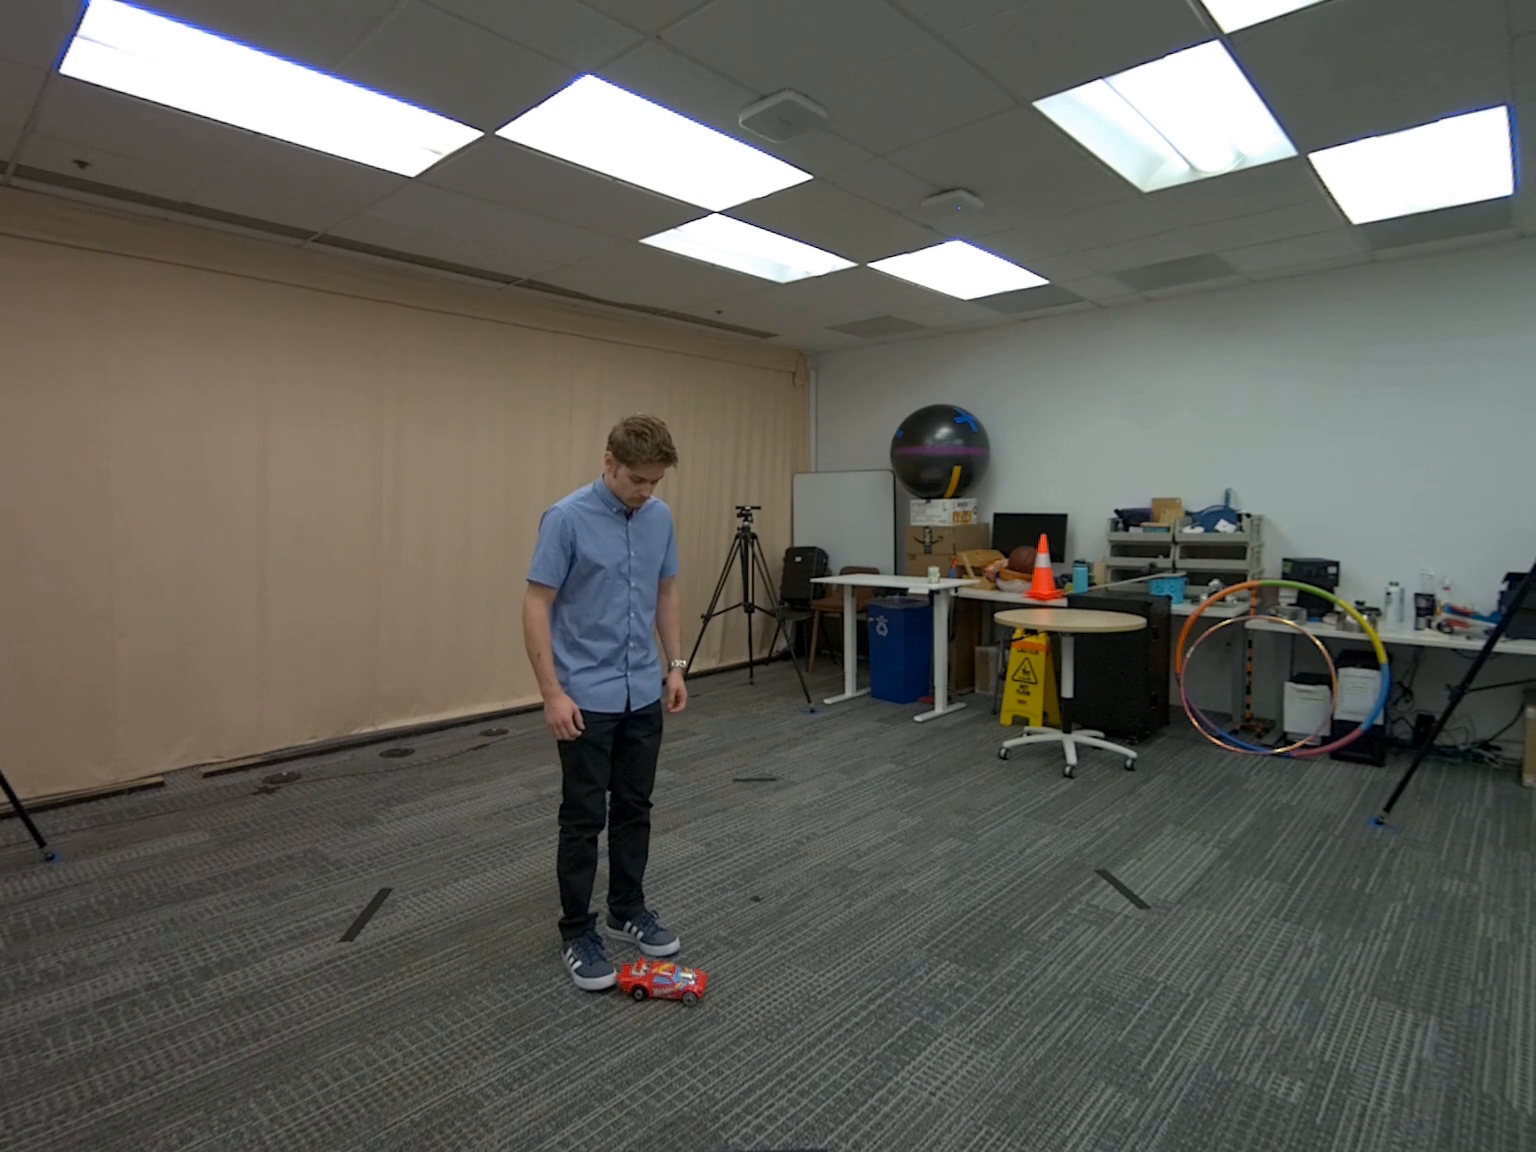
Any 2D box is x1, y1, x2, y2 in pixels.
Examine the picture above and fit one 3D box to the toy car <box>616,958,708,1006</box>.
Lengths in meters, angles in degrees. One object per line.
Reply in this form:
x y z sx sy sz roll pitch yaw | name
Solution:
-0.302 1.167 2.406 0.257 0.083 0.129 11 7 8 | toy car
